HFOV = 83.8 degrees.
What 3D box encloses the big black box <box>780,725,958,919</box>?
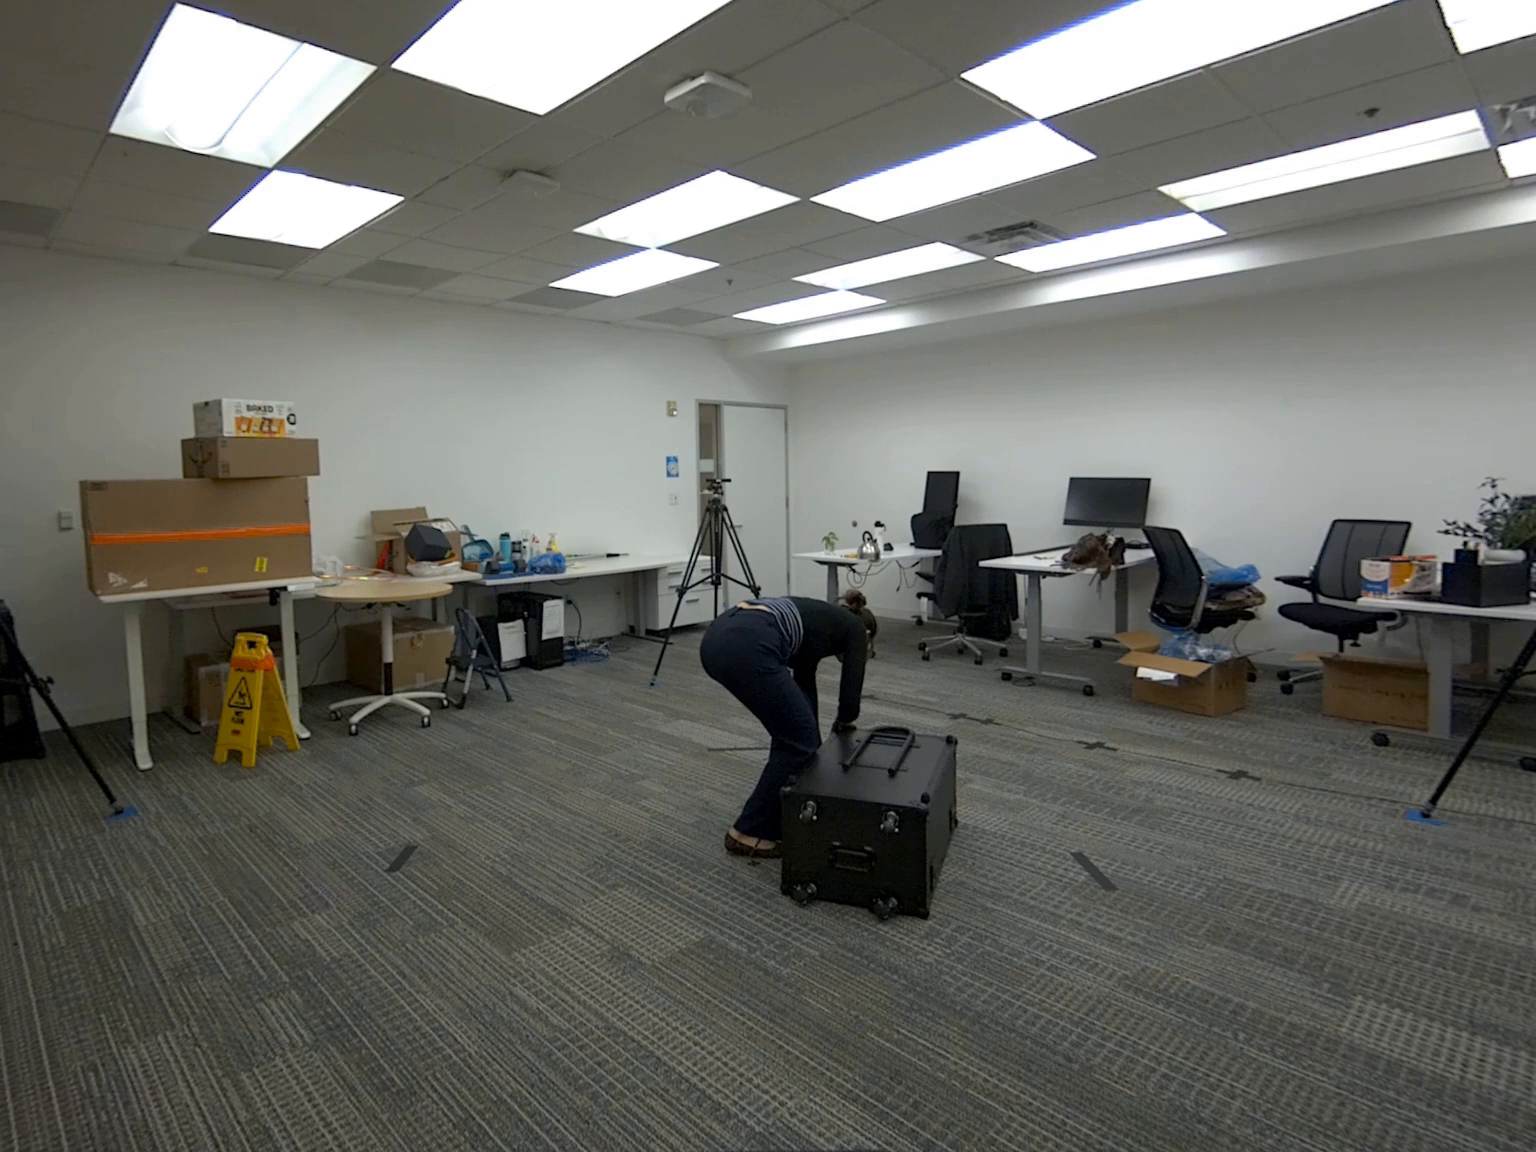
[{"bbox_3d":[0.388,0.840,3.081,0.531,0.394,0.849,1,8,20],"label":"big black box"}]
